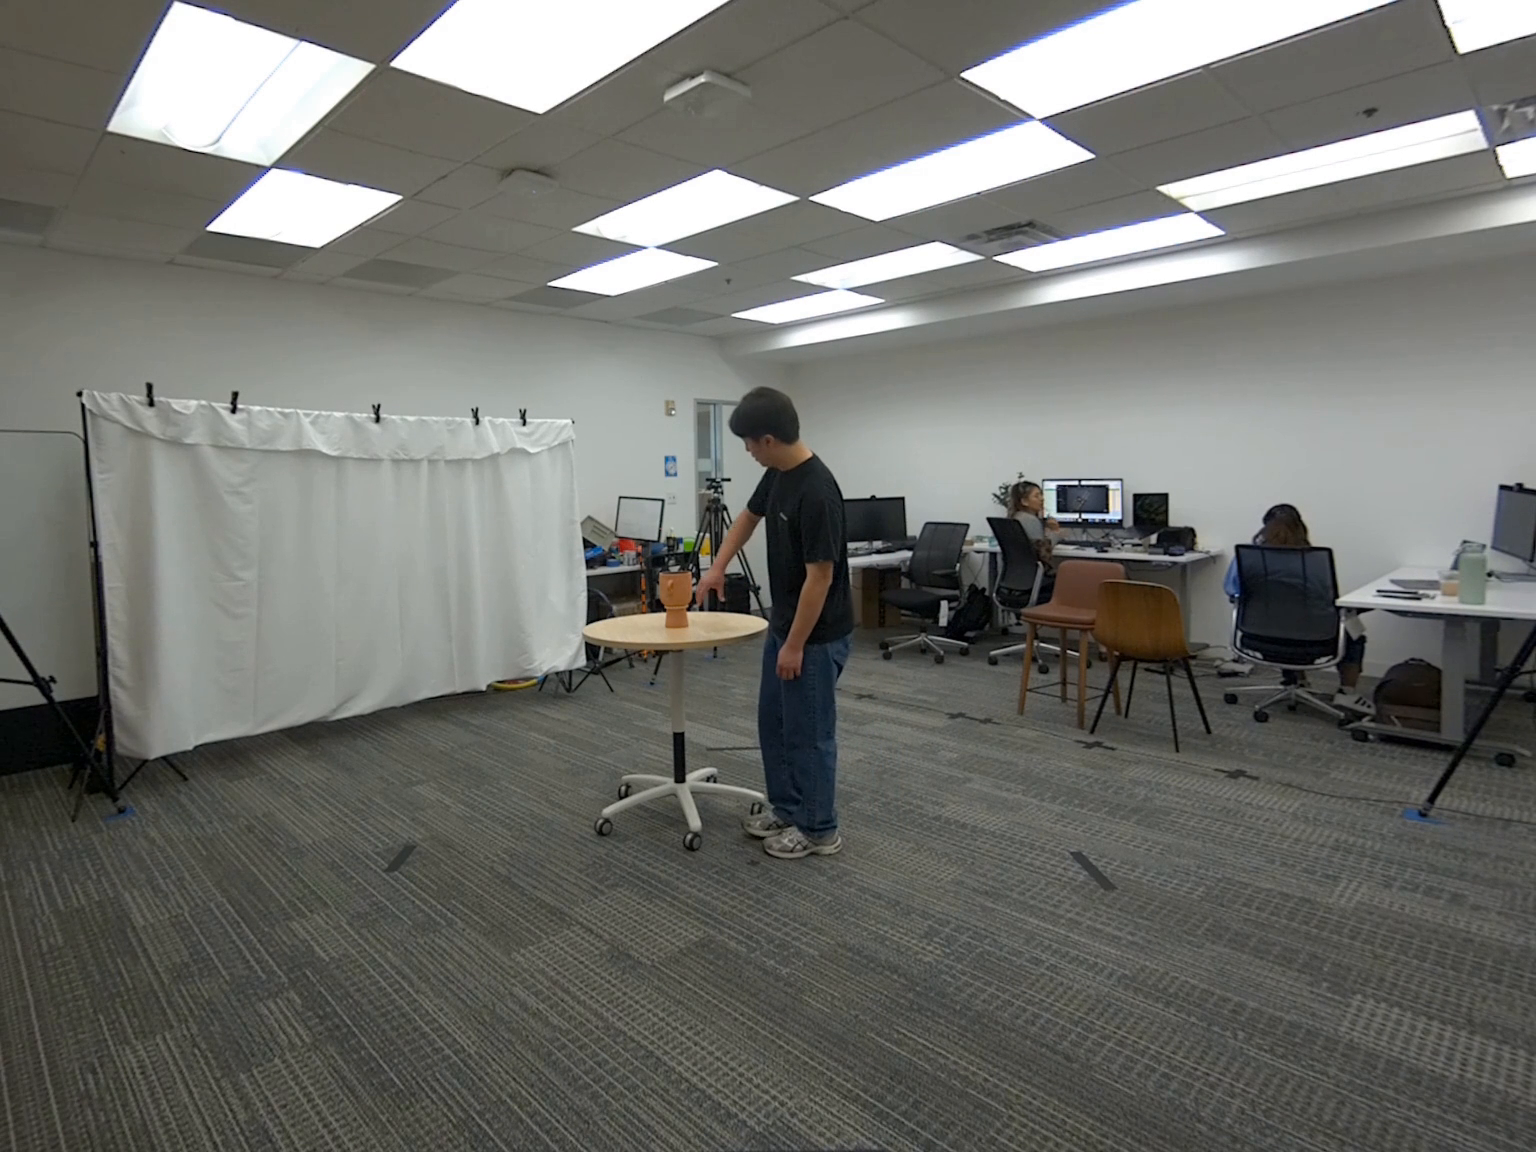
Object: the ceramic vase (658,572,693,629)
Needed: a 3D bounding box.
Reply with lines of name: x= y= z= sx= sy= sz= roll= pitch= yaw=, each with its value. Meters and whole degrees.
ceramic vase: x=-0.376 y=0.098 z=3.510 sx=0.154 sy=0.219 sz=0.138 roll=-3 pitch=3 yaw=-38
